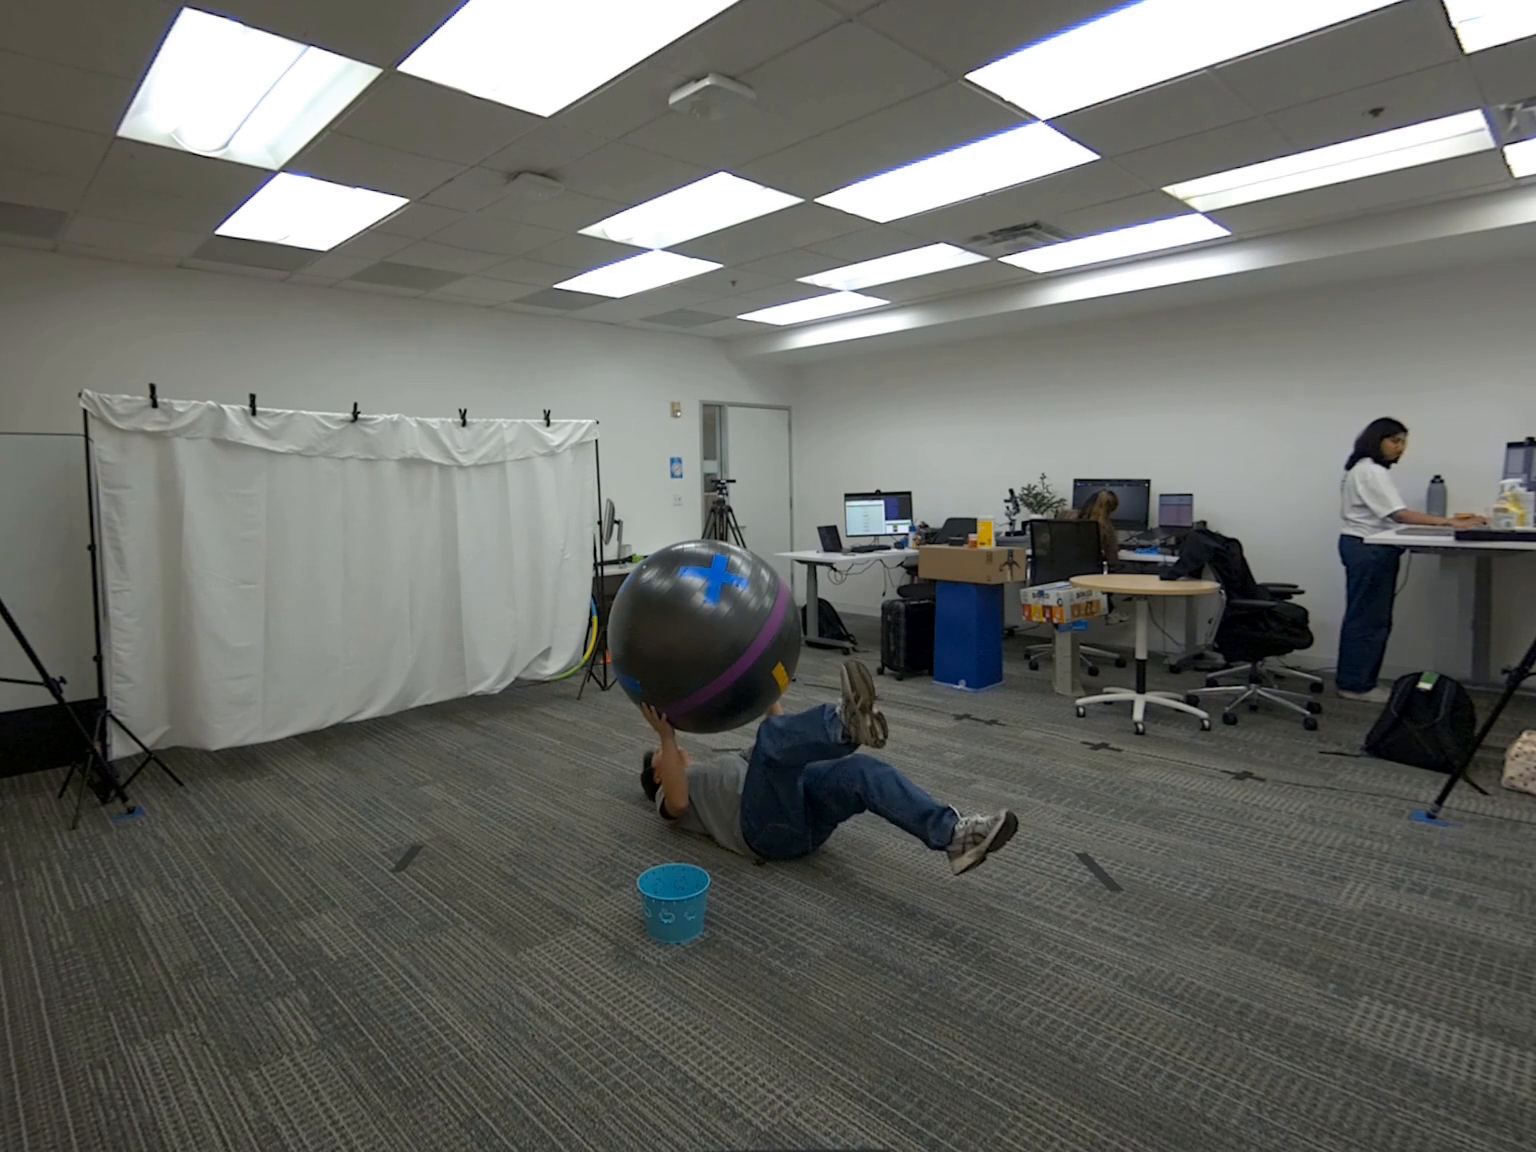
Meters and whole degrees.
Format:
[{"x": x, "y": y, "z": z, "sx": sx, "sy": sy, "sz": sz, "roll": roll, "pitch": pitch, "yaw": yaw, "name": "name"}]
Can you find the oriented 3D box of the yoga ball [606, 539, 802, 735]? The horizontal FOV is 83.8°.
[{"x": -0.250, "y": 0.242, "z": 3.361, "sx": 0.757, "sy": 0.755, "sz": 0.762, "roll": -1, "pitch": 5, "yaw": -2, "name": "yoga ball"}]
